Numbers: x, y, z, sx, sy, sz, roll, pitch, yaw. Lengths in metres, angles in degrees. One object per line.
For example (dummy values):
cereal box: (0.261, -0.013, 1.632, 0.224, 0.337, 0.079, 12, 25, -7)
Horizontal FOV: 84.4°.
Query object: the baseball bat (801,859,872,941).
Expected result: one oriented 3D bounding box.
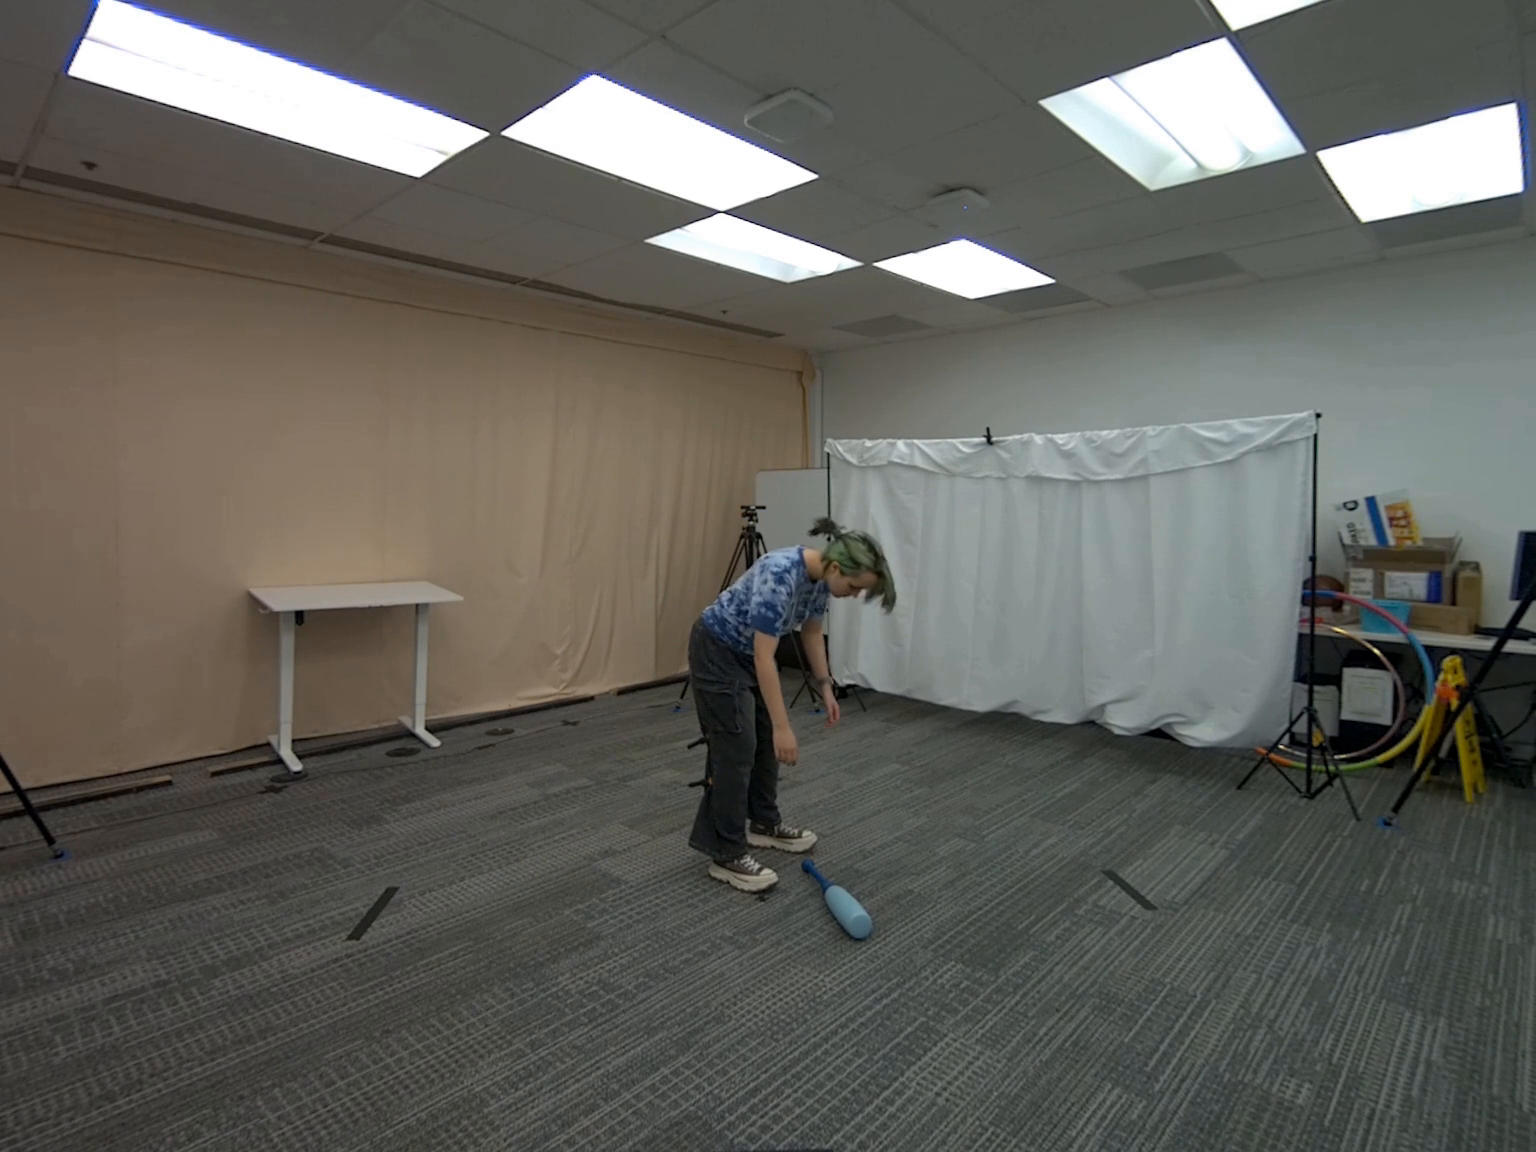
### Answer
baseball bat: (0.230, 1.111, 2.944, 0.088, 0.089, 0.550, -1, 1, -14)
